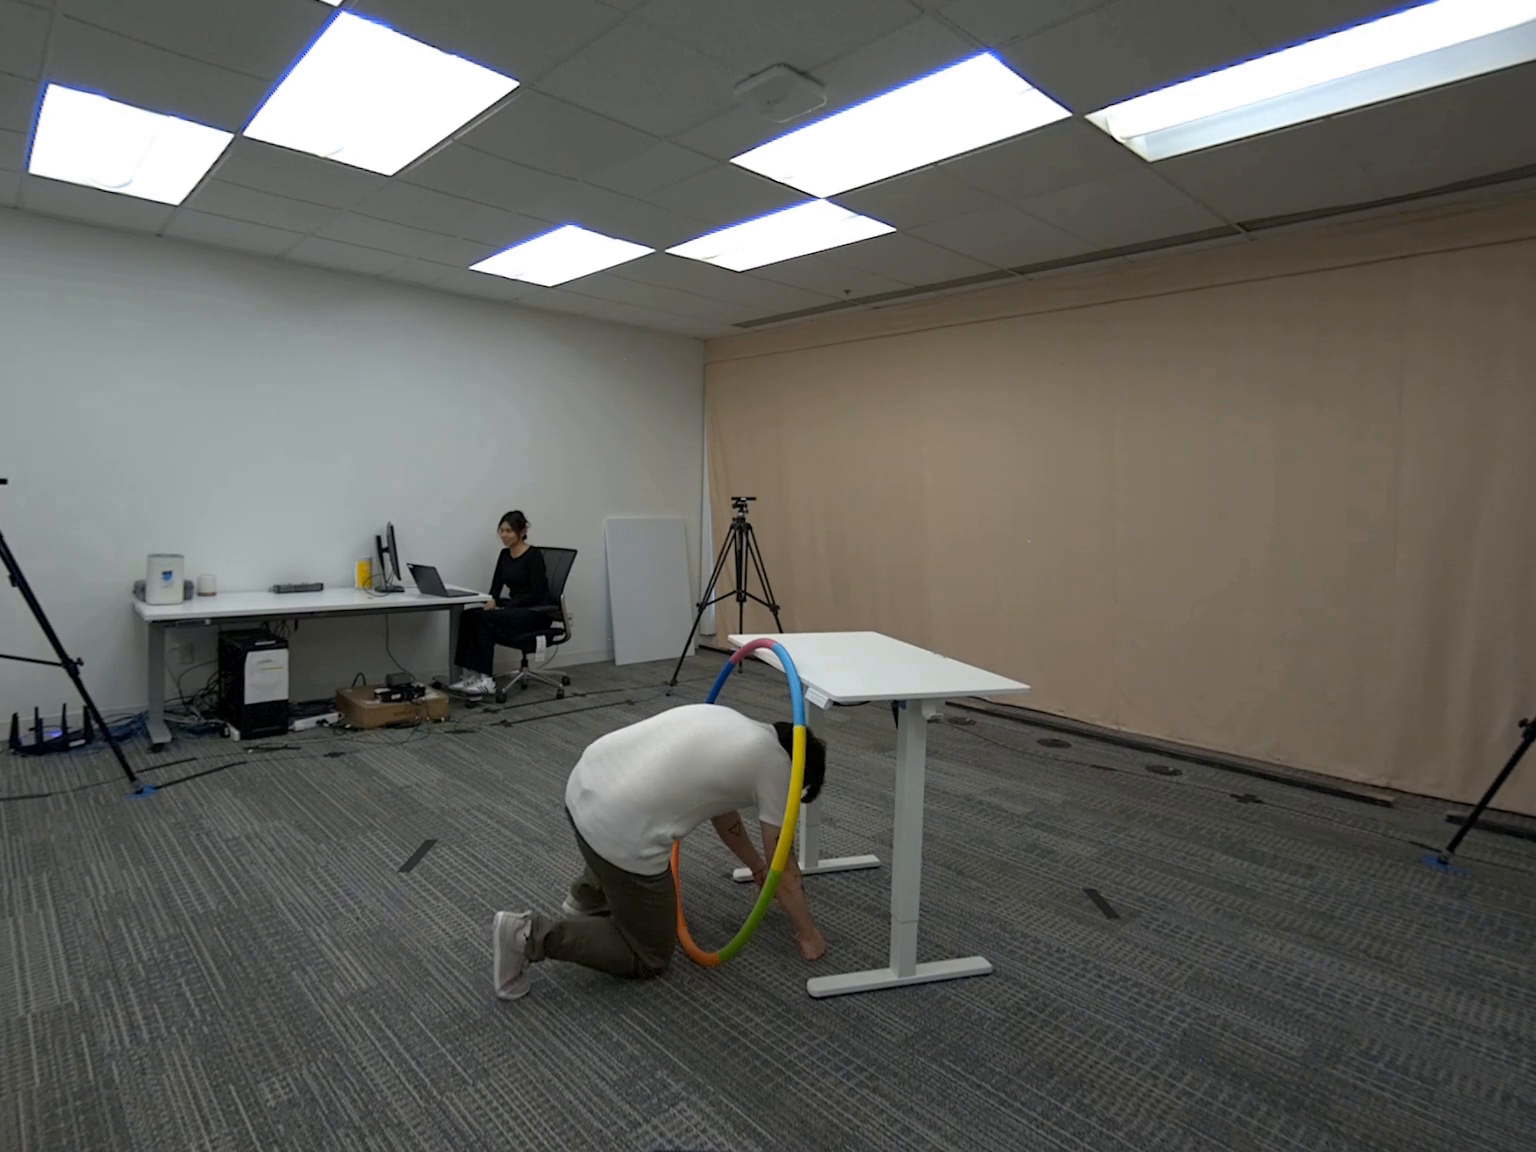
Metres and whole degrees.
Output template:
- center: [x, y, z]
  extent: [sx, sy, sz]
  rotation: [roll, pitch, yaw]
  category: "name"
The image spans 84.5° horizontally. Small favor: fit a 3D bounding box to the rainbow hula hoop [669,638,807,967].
- center: [-0.128, 0.675, 2.637]
  extent: [0.035, 0.979, 0.995]
  rotation: [18, -1, -20]
  category: "rainbow hula hoop"
